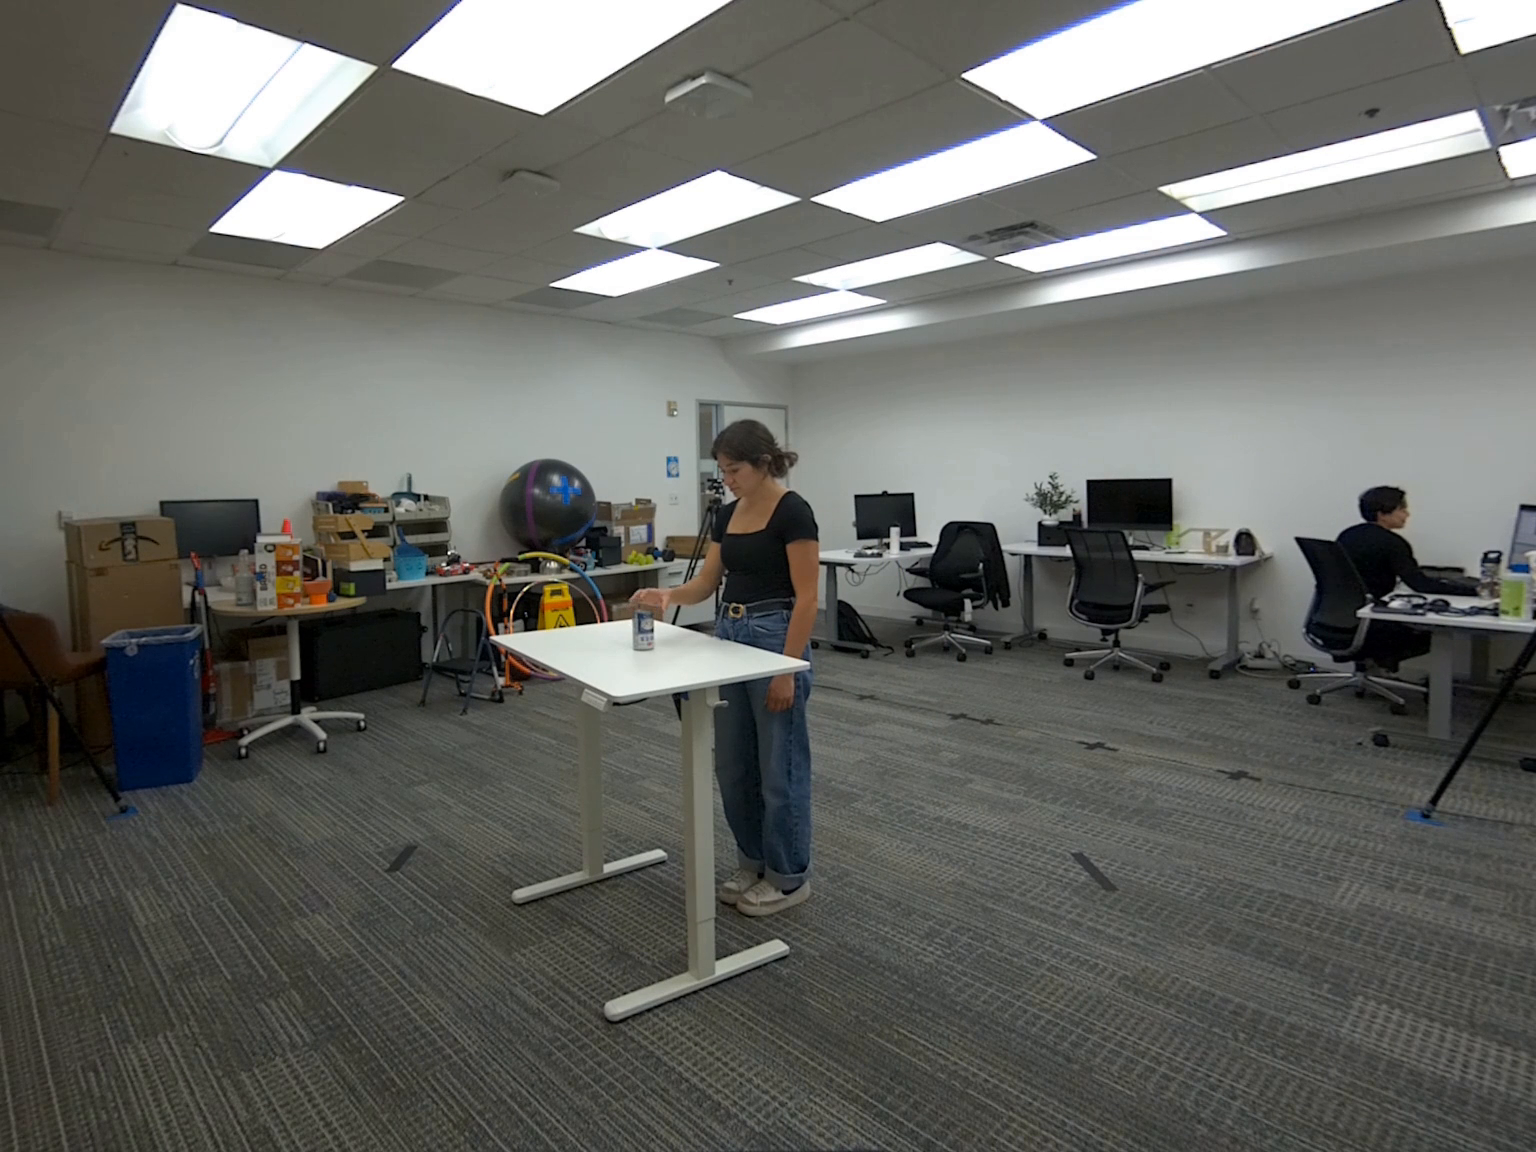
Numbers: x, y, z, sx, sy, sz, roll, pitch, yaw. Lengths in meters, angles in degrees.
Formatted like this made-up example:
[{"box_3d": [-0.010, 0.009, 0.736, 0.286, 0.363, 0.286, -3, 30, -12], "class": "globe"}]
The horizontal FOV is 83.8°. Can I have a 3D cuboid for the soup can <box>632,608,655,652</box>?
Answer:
[{"box_3d": [-0.375, 0.165, 2.624, 0.067, 0.121, 0.067, 2, 4, -2], "class": "soup can"}]
